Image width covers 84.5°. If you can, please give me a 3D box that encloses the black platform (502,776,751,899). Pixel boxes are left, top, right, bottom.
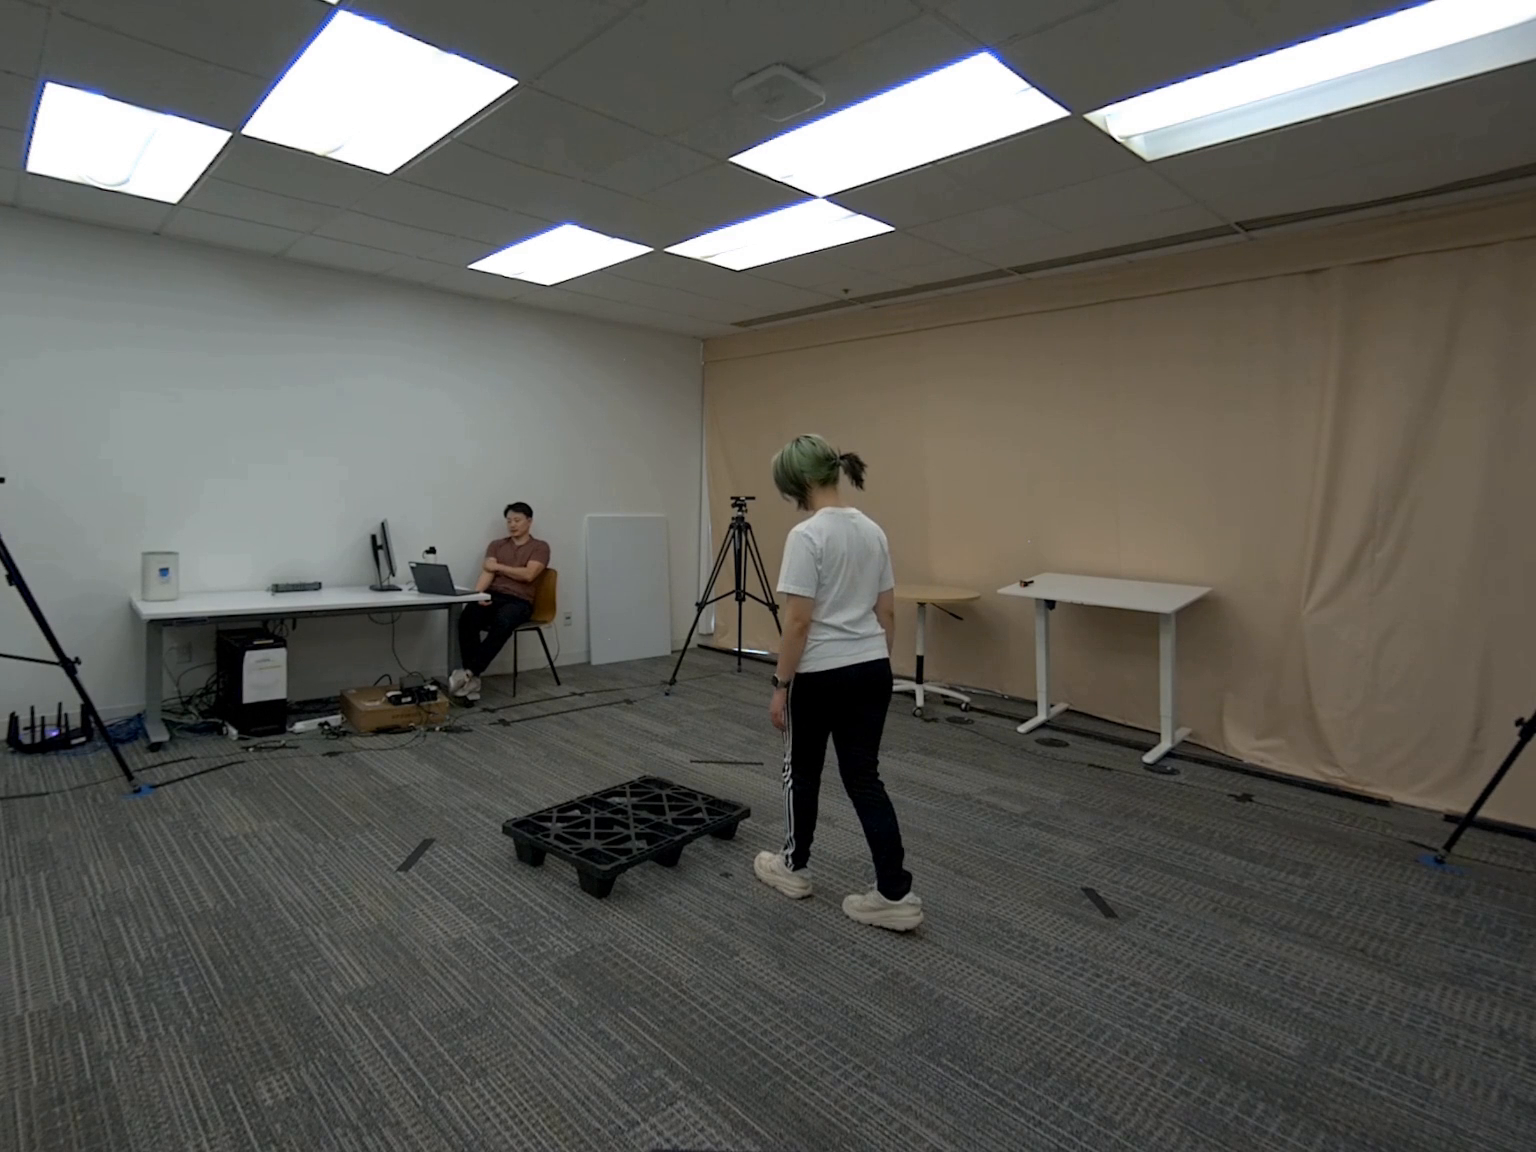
[{"bbox_3d":[-0.554,1.009,3.319,0.620,0.143,0.788,5,6,39],"label":"black platform"}]
